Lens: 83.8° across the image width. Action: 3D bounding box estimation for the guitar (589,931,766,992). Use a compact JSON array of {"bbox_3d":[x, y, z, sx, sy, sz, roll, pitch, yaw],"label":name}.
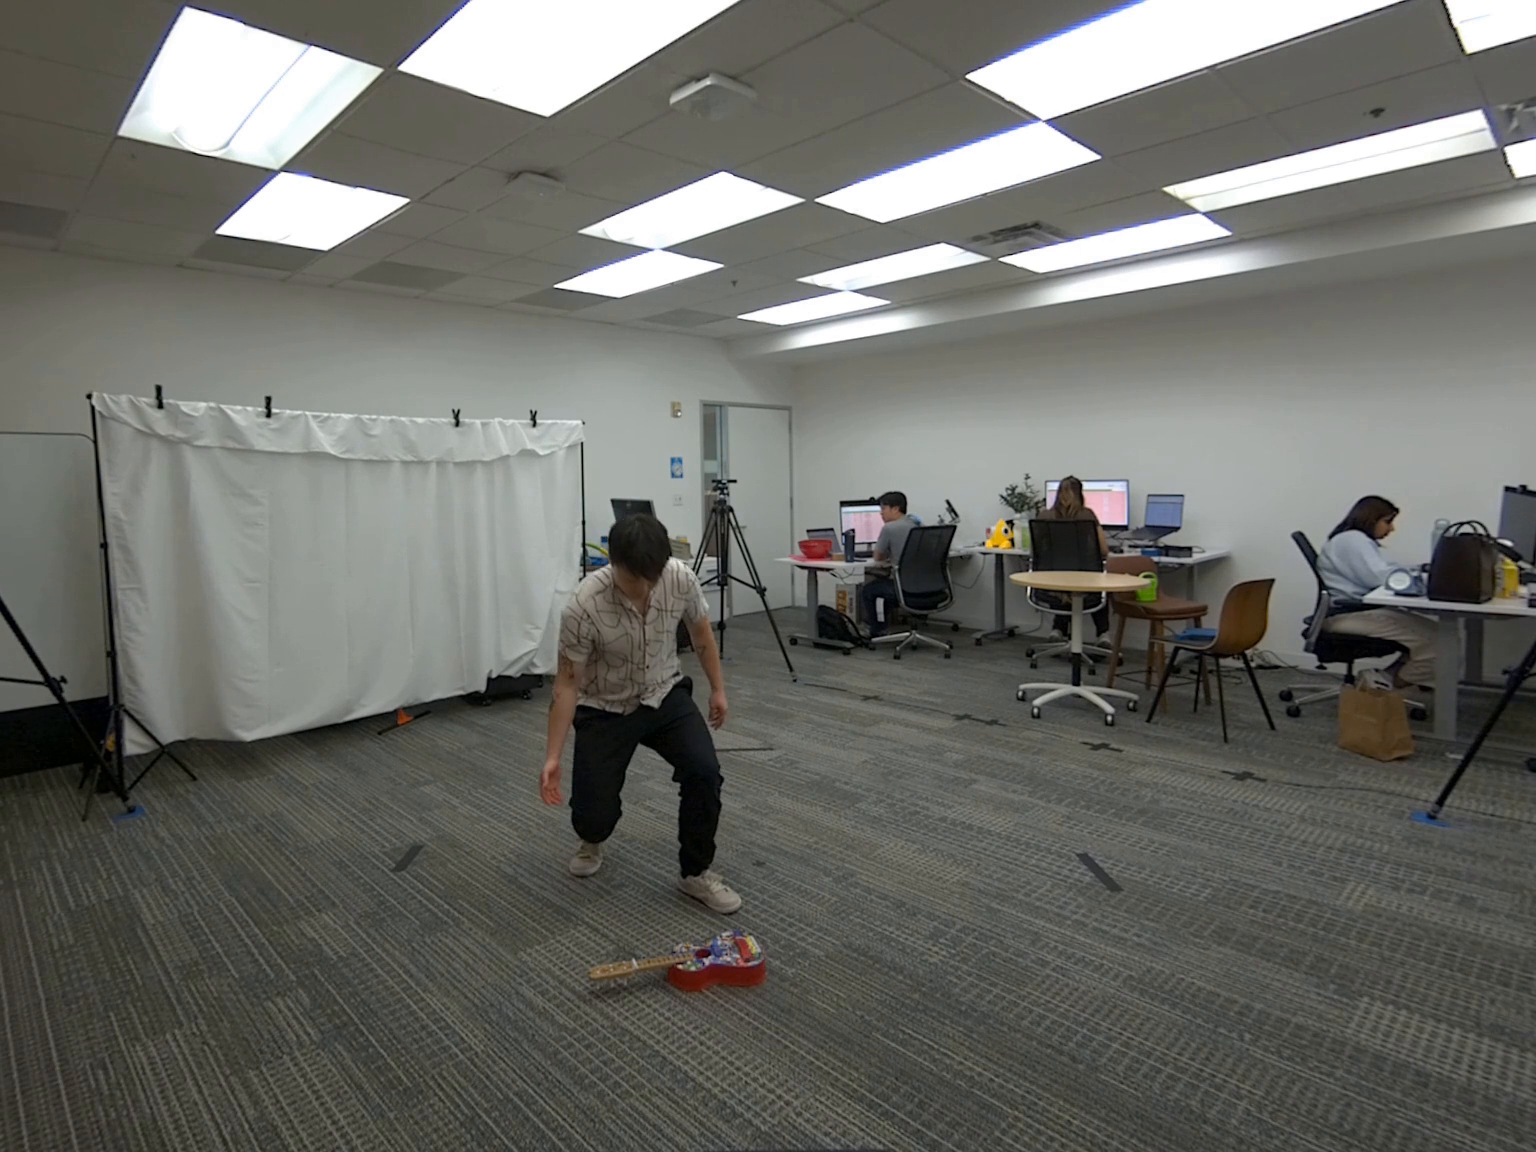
[{"bbox_3d":[-0.257,1.098,2.427,0.494,0.070,0.195,-2,7,-7],"label":"guitar"}]
